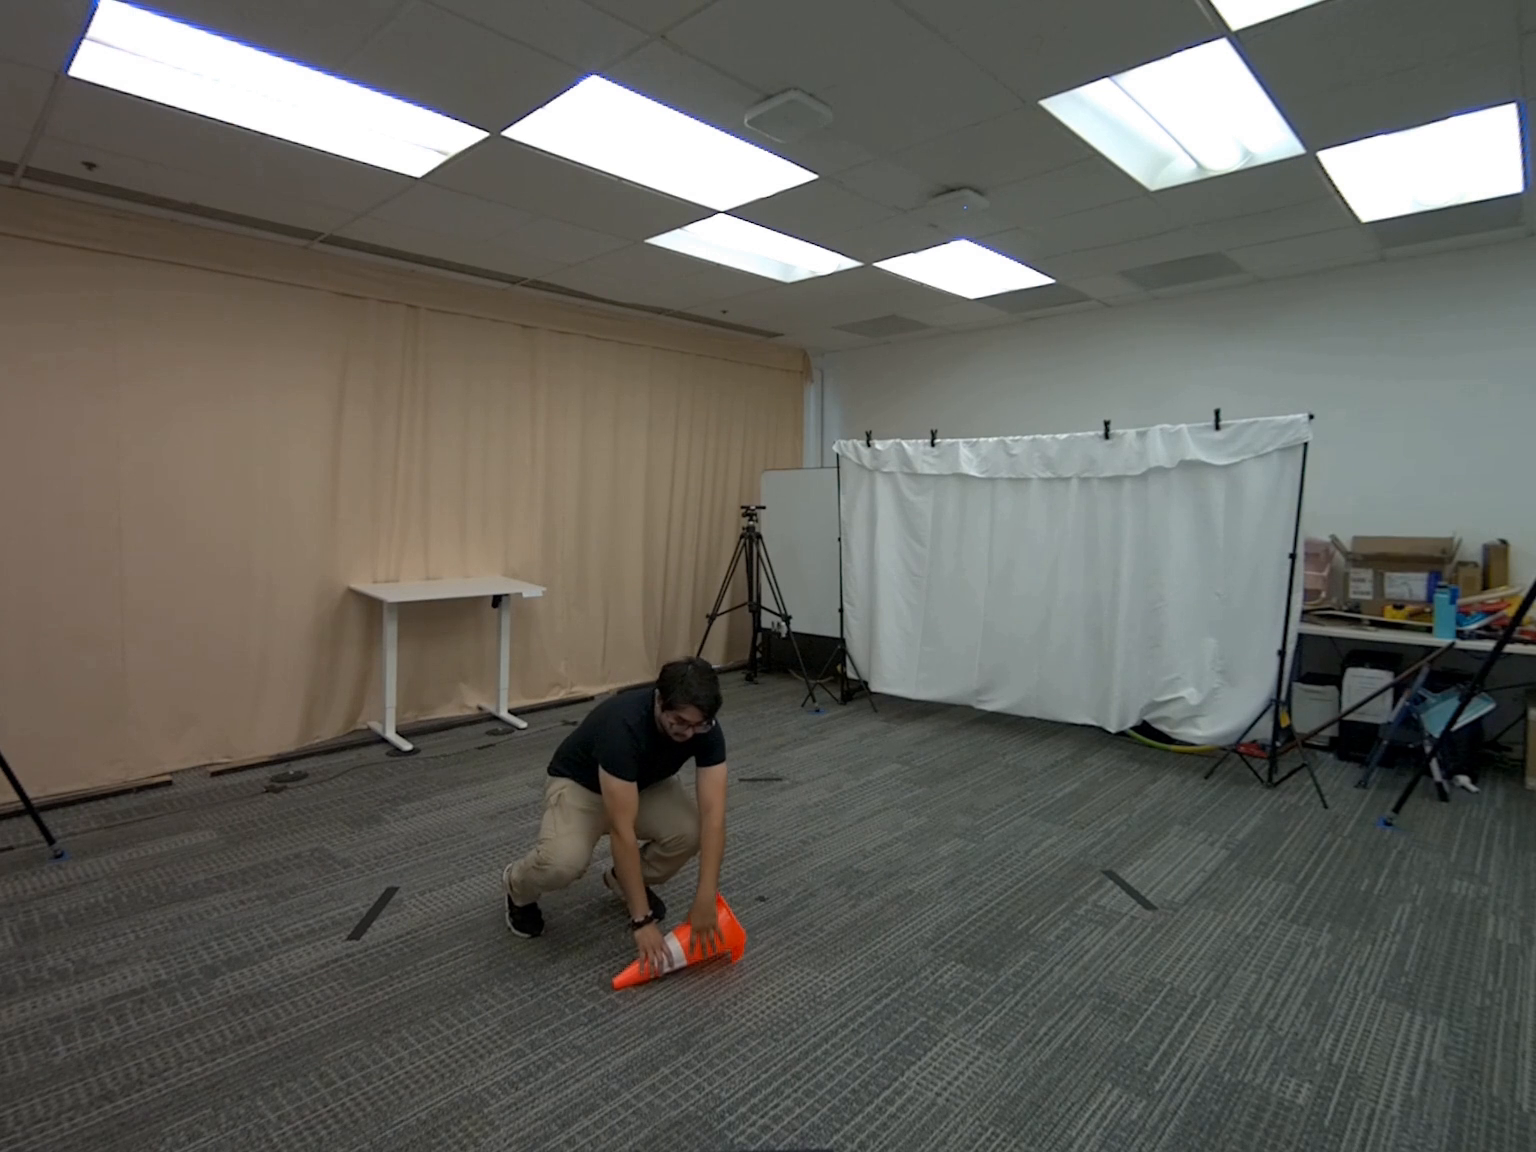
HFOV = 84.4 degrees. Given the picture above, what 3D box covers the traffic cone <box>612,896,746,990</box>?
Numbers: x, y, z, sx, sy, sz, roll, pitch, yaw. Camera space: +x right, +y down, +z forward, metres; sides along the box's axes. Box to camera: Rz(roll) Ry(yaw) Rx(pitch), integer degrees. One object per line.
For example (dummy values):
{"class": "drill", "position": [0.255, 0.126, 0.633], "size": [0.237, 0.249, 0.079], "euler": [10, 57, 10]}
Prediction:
{"class": "traffic cone", "position": [-0.285, 1.130, 2.492], "size": [0.377, 0.202, 0.210], "euler": [-24, 51, -26]}
